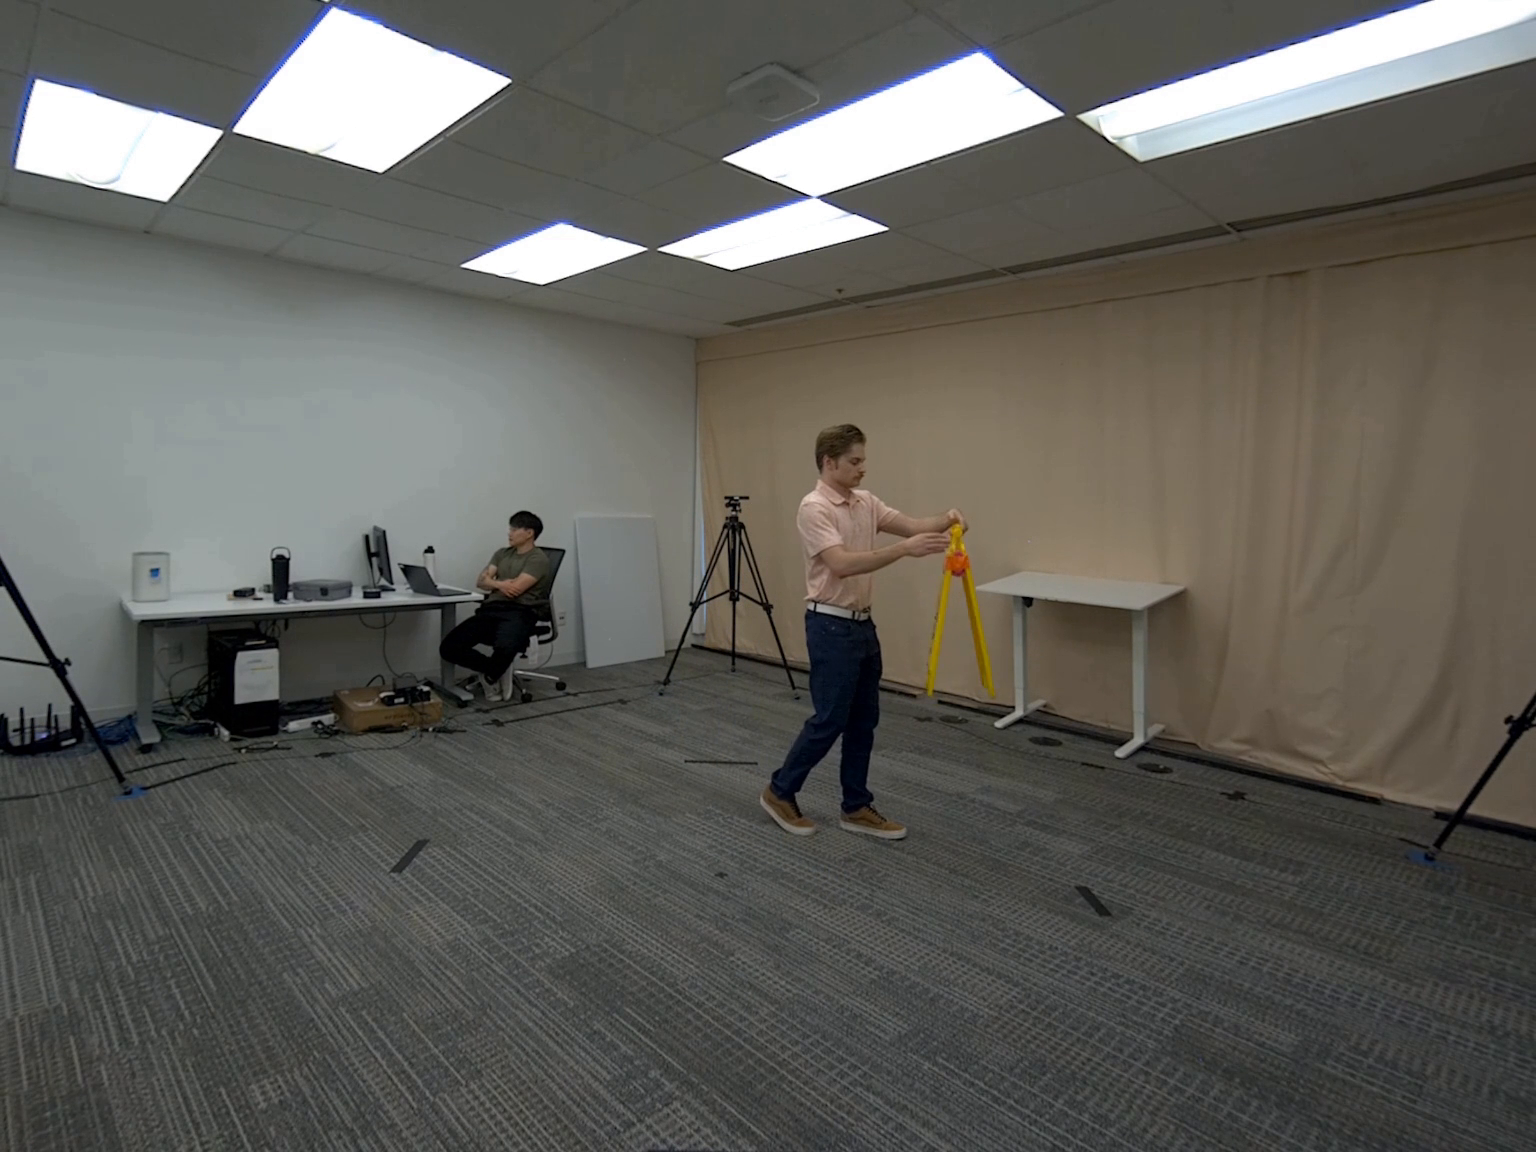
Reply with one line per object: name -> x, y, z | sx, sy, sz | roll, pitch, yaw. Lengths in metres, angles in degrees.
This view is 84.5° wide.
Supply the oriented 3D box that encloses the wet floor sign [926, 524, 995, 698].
wet floor sign -> 0.739, 0.128, 3.295 | 0.291, 0.645, 0.281 | 0, 2, 5
